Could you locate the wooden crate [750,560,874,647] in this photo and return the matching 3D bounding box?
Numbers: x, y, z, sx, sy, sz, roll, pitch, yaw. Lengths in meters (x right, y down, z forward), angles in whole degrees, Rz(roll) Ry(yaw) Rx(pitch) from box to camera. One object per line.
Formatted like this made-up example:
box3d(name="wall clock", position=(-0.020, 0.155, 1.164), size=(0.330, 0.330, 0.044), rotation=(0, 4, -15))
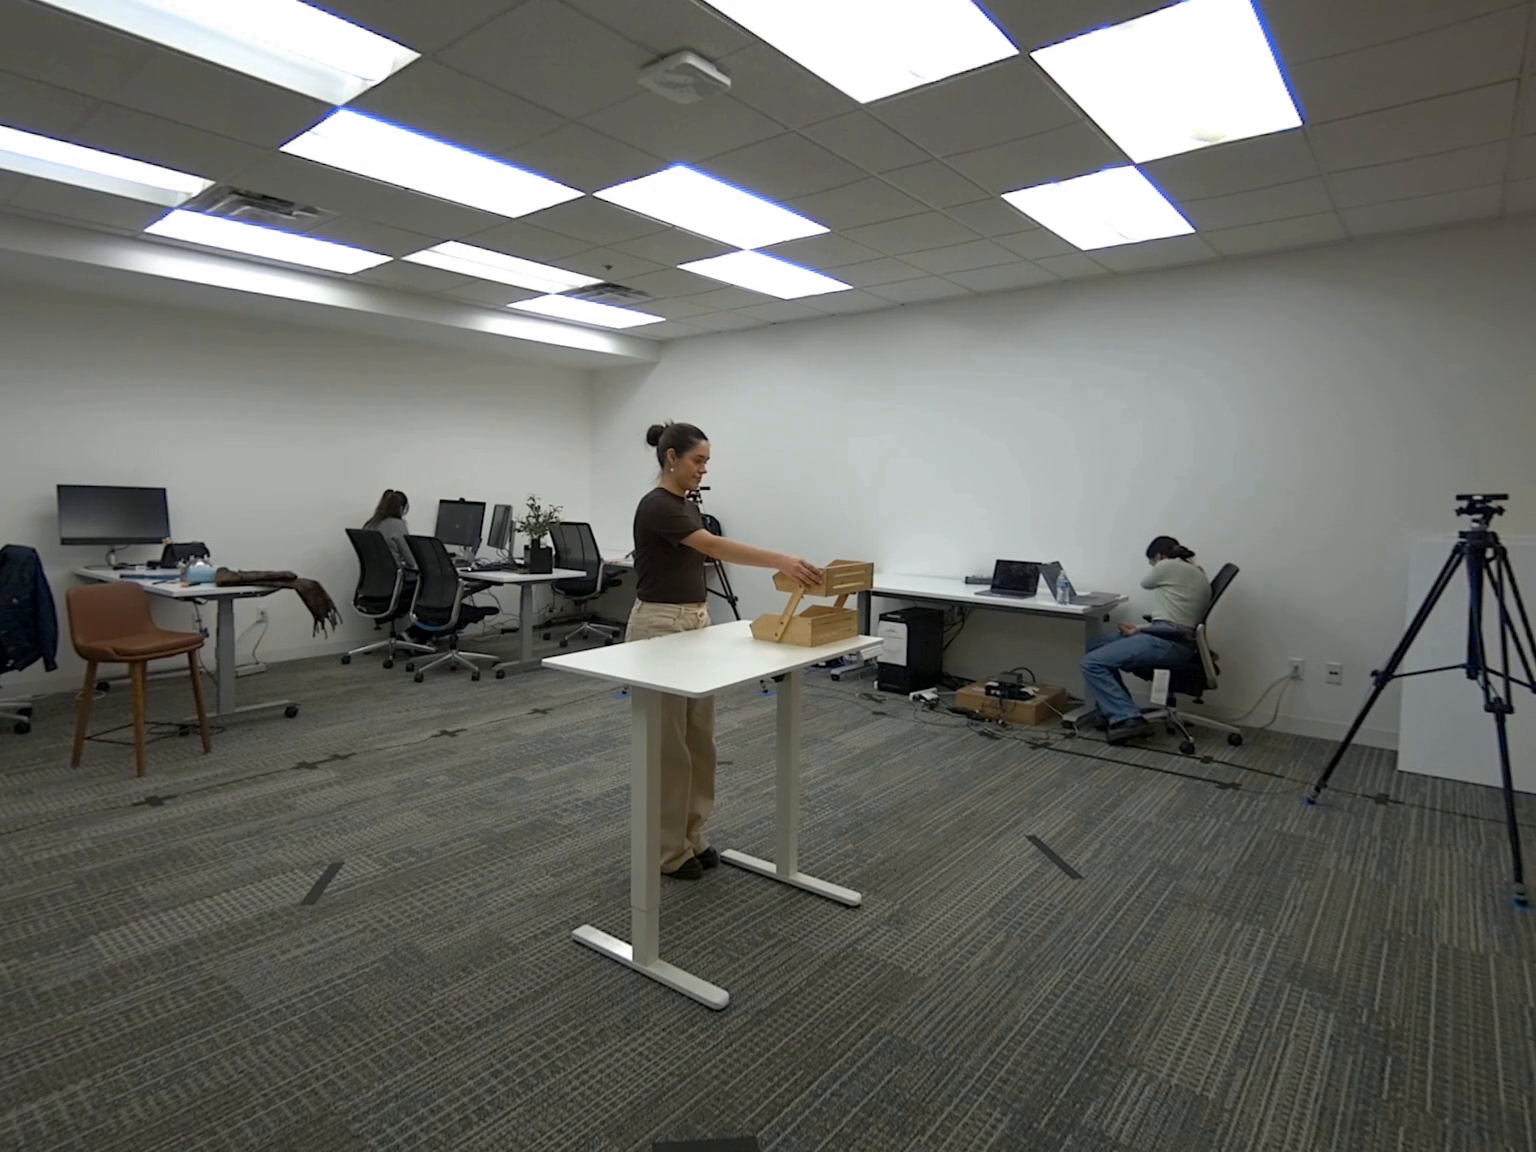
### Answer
box3d(name="wooden crate", position=(0.141, 0.077, 2.885), size=(0.312, 0.272, 0.315), rotation=(6, 7, 37))
